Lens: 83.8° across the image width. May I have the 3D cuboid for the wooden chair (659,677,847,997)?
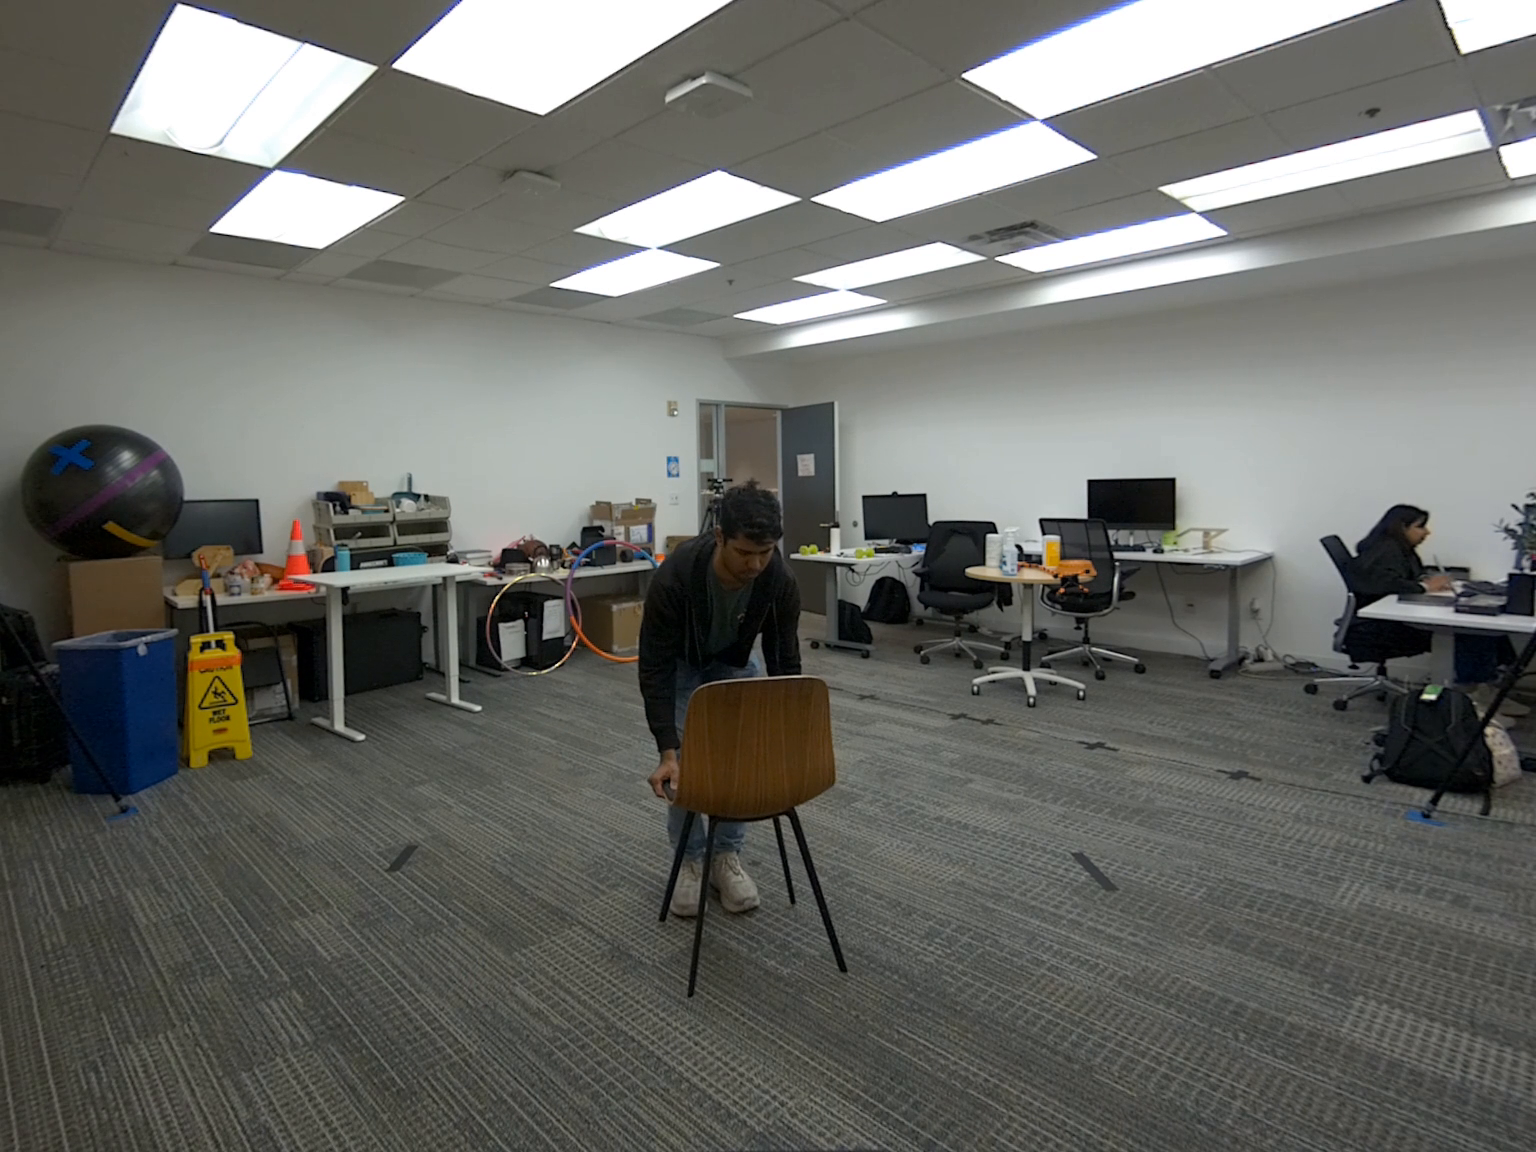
[{"bbox_3d":[-0.075,0.661,2.518,0.471,0.873,0.533,-3,6,-16],"label":"wooden chair"}]
